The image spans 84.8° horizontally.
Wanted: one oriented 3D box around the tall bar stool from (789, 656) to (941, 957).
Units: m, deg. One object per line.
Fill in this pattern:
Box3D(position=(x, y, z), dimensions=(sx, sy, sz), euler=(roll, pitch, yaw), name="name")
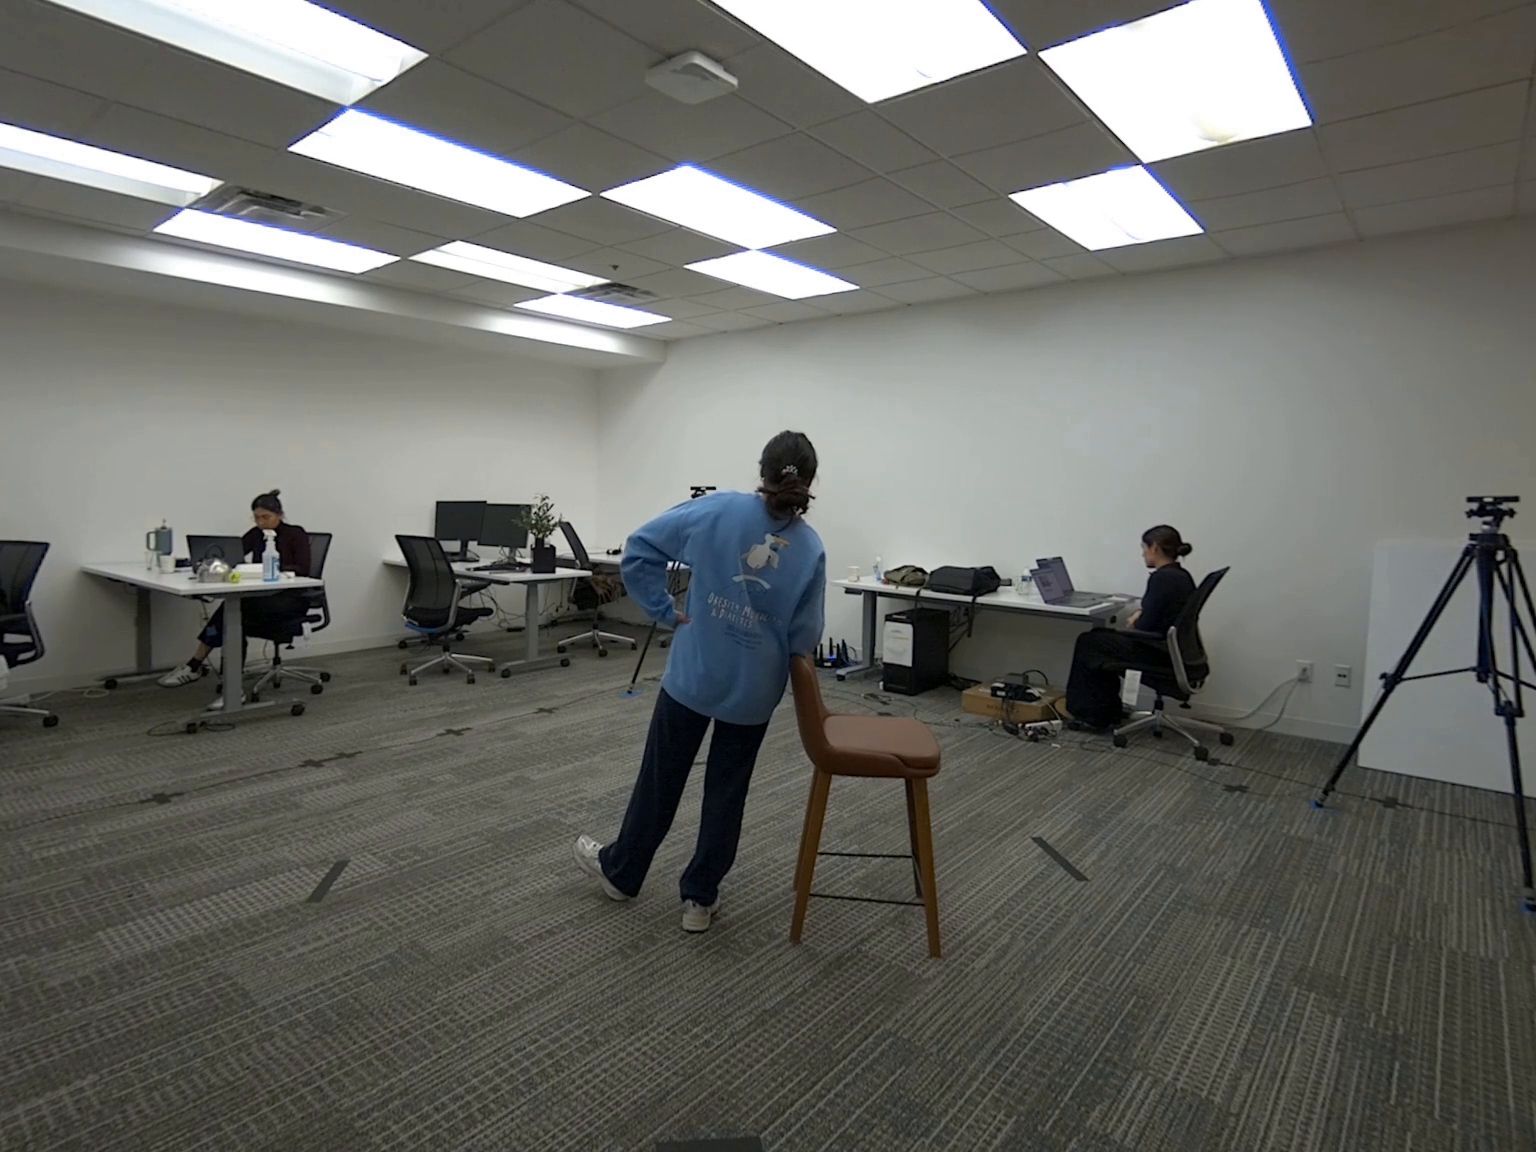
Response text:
Box3D(position=(0.300, 0.677, 2.744), dimensions=(0.471, 0.888, 0.454), euler=(-1, 3, 6), name="tall bar stool")
